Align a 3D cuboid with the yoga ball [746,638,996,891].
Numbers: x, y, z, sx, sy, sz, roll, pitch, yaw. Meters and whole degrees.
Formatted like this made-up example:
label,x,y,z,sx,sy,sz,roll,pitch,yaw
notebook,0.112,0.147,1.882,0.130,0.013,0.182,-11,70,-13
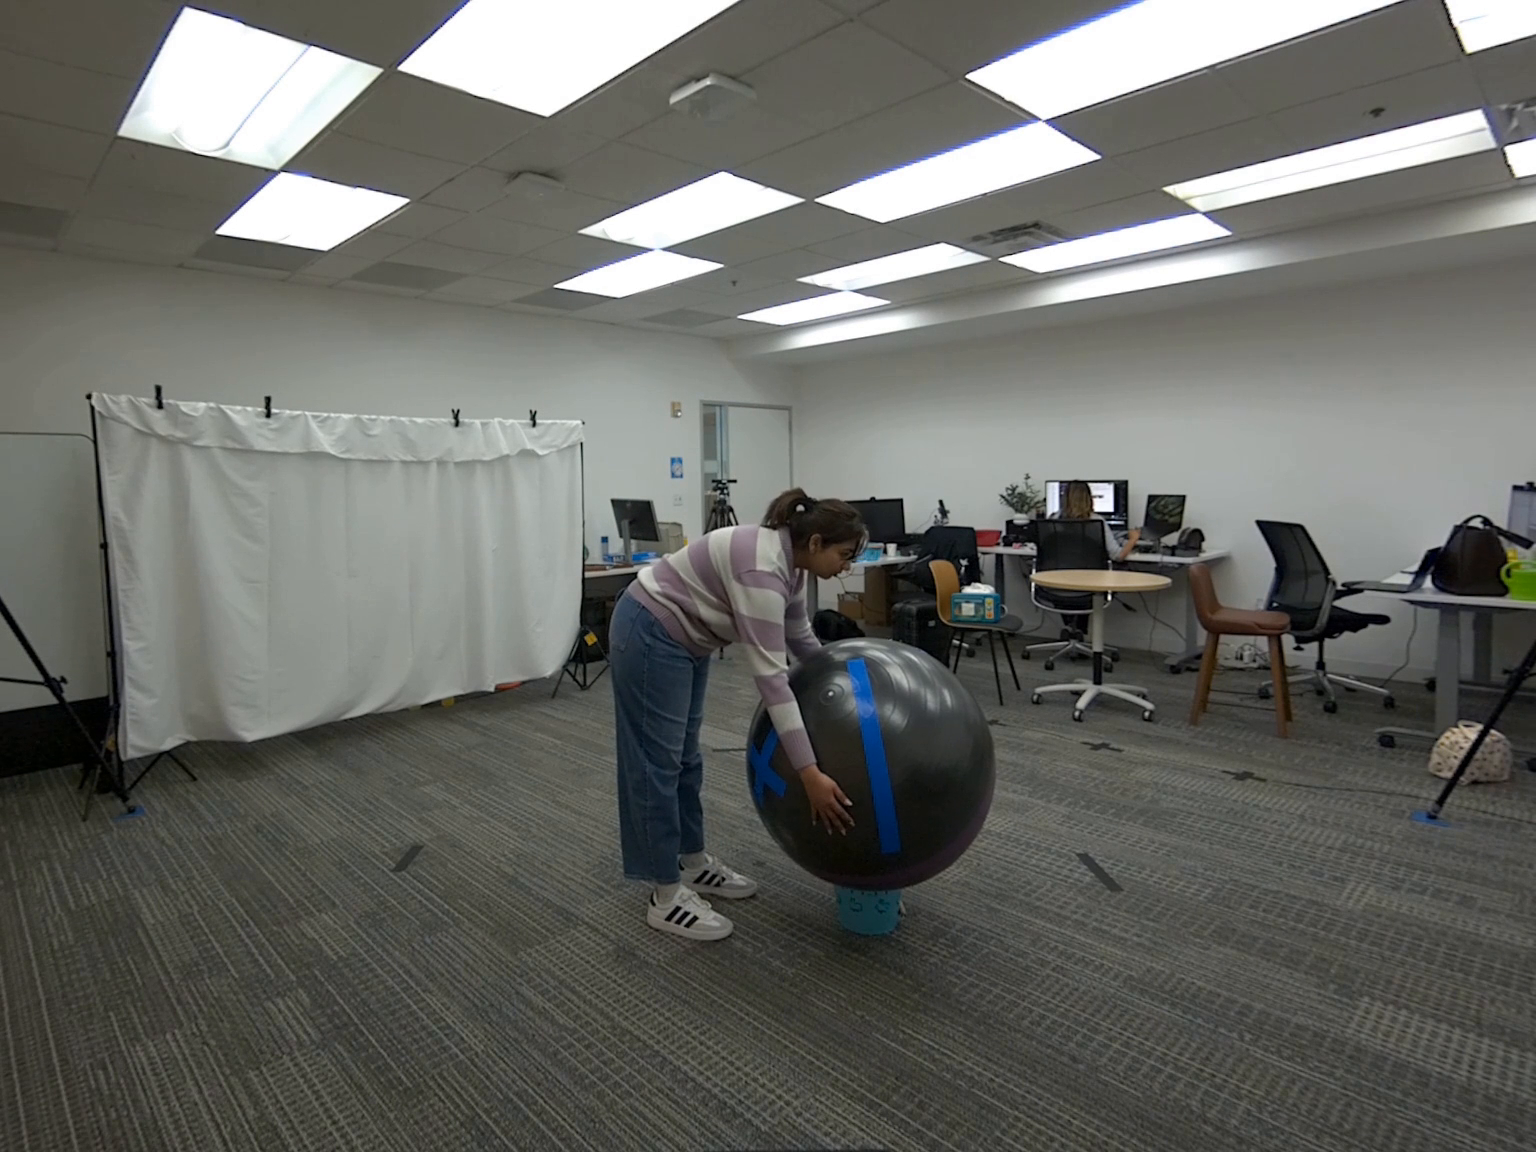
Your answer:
label,x,y,z,sx,sy,sz,roll,pitch,yaw
yoga ball,0.317,0.575,2.646,0.757,0.755,0.762,-1,5,-2
